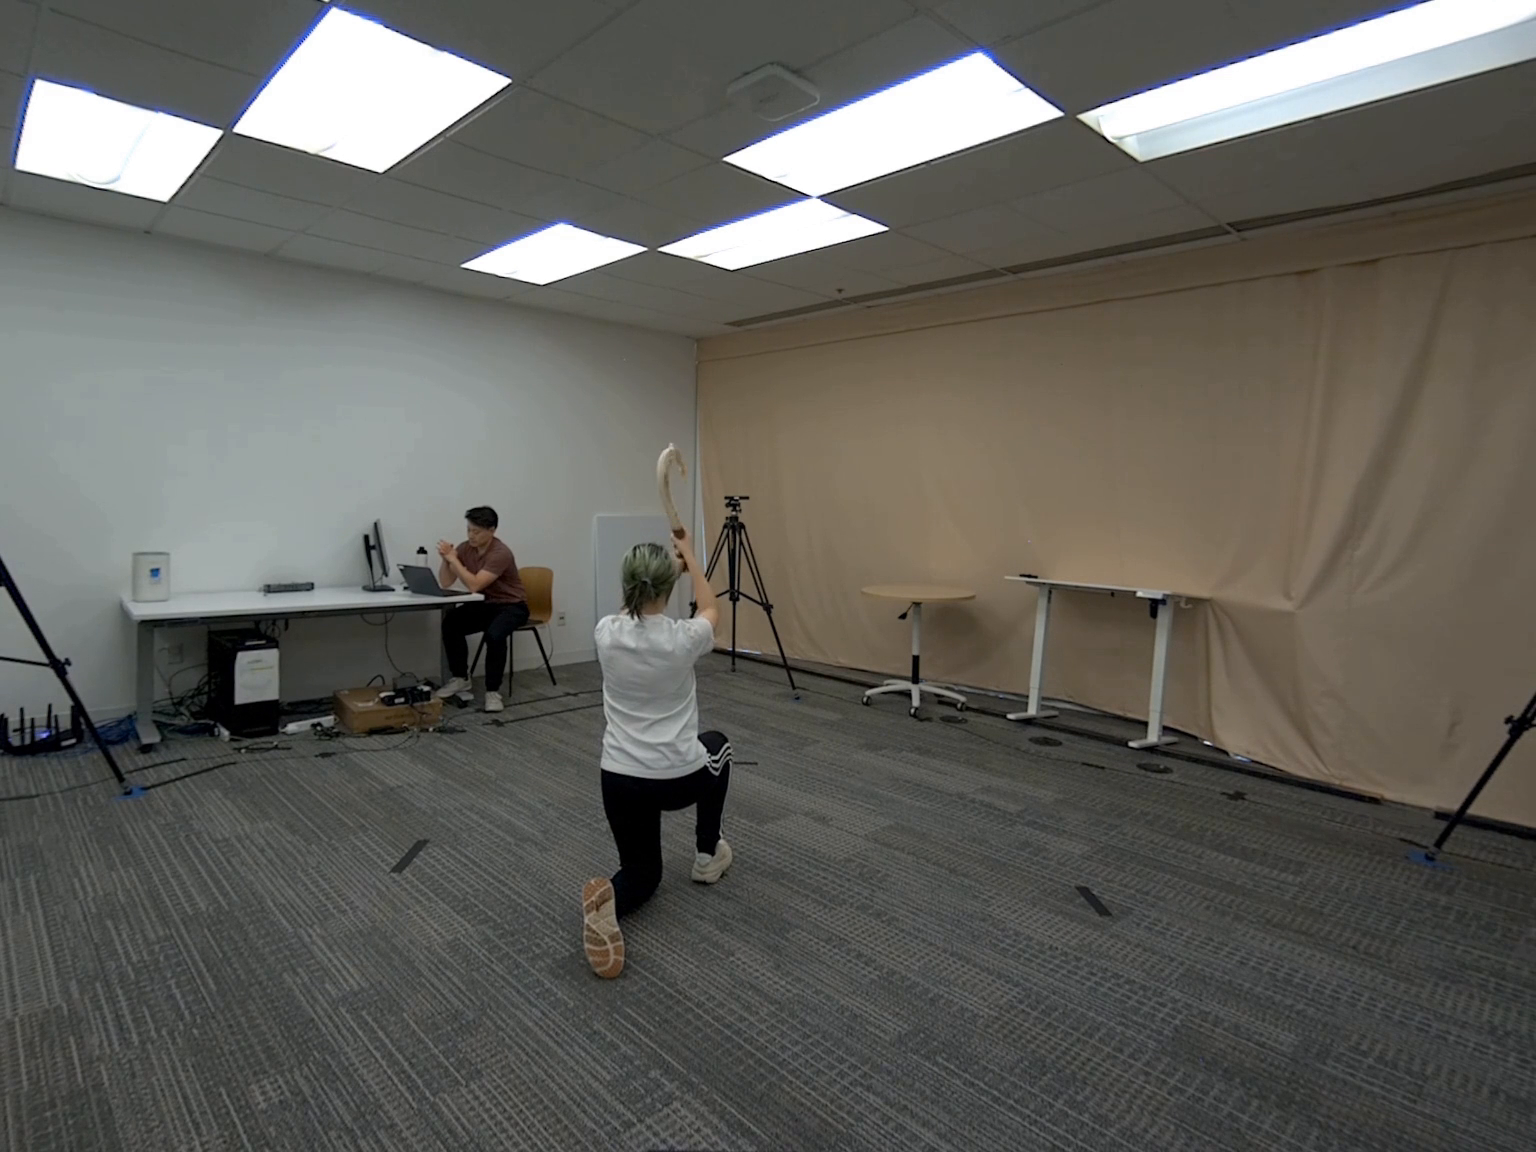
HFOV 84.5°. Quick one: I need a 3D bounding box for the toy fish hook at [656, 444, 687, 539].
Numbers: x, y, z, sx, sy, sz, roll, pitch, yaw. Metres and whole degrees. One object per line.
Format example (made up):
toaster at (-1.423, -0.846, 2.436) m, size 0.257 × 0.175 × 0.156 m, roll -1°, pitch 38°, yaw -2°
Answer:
toy fish hook at (-0.344, -0.239, 3.194) m, size 0.049 × 0.495 × 0.225 m, roll 6°, pitch 33°, yaw 21°
